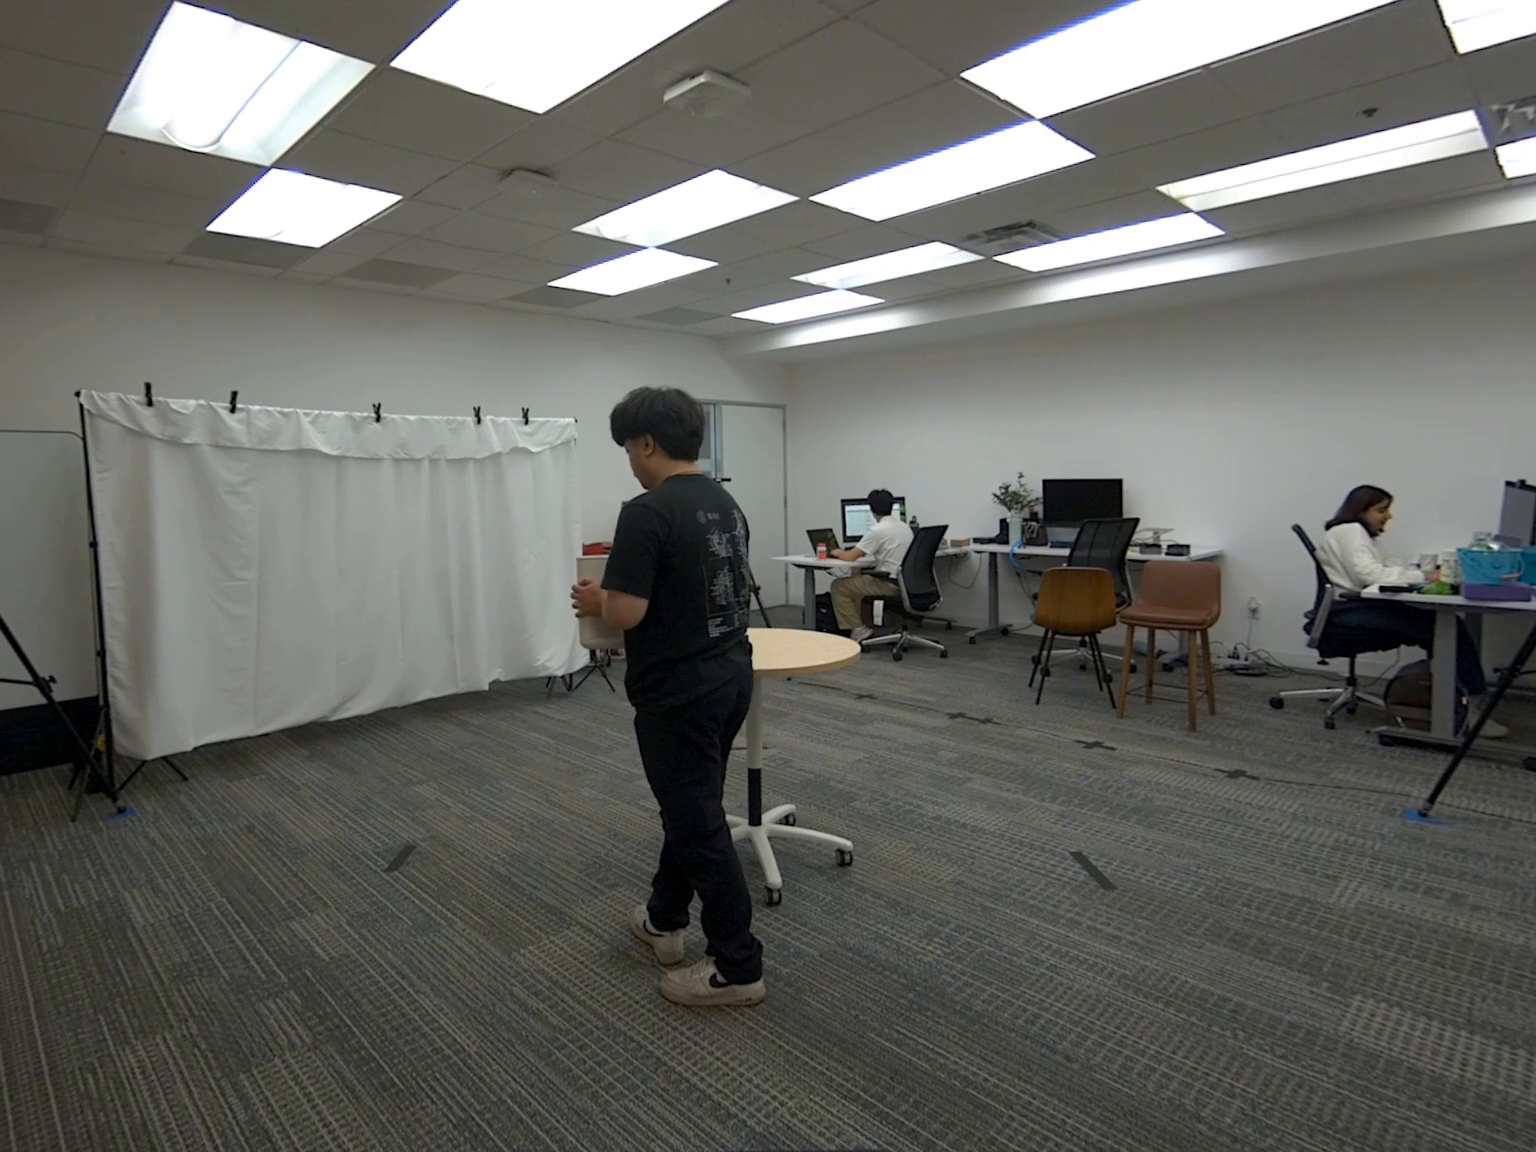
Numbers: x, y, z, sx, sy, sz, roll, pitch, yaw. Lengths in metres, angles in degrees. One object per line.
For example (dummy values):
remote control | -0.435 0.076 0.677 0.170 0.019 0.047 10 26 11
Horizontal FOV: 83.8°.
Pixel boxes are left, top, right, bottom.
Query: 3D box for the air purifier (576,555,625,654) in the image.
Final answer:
air purifier | -0.467 0.076 2.480 0.171 0.265 0.172 -1 2 -3
